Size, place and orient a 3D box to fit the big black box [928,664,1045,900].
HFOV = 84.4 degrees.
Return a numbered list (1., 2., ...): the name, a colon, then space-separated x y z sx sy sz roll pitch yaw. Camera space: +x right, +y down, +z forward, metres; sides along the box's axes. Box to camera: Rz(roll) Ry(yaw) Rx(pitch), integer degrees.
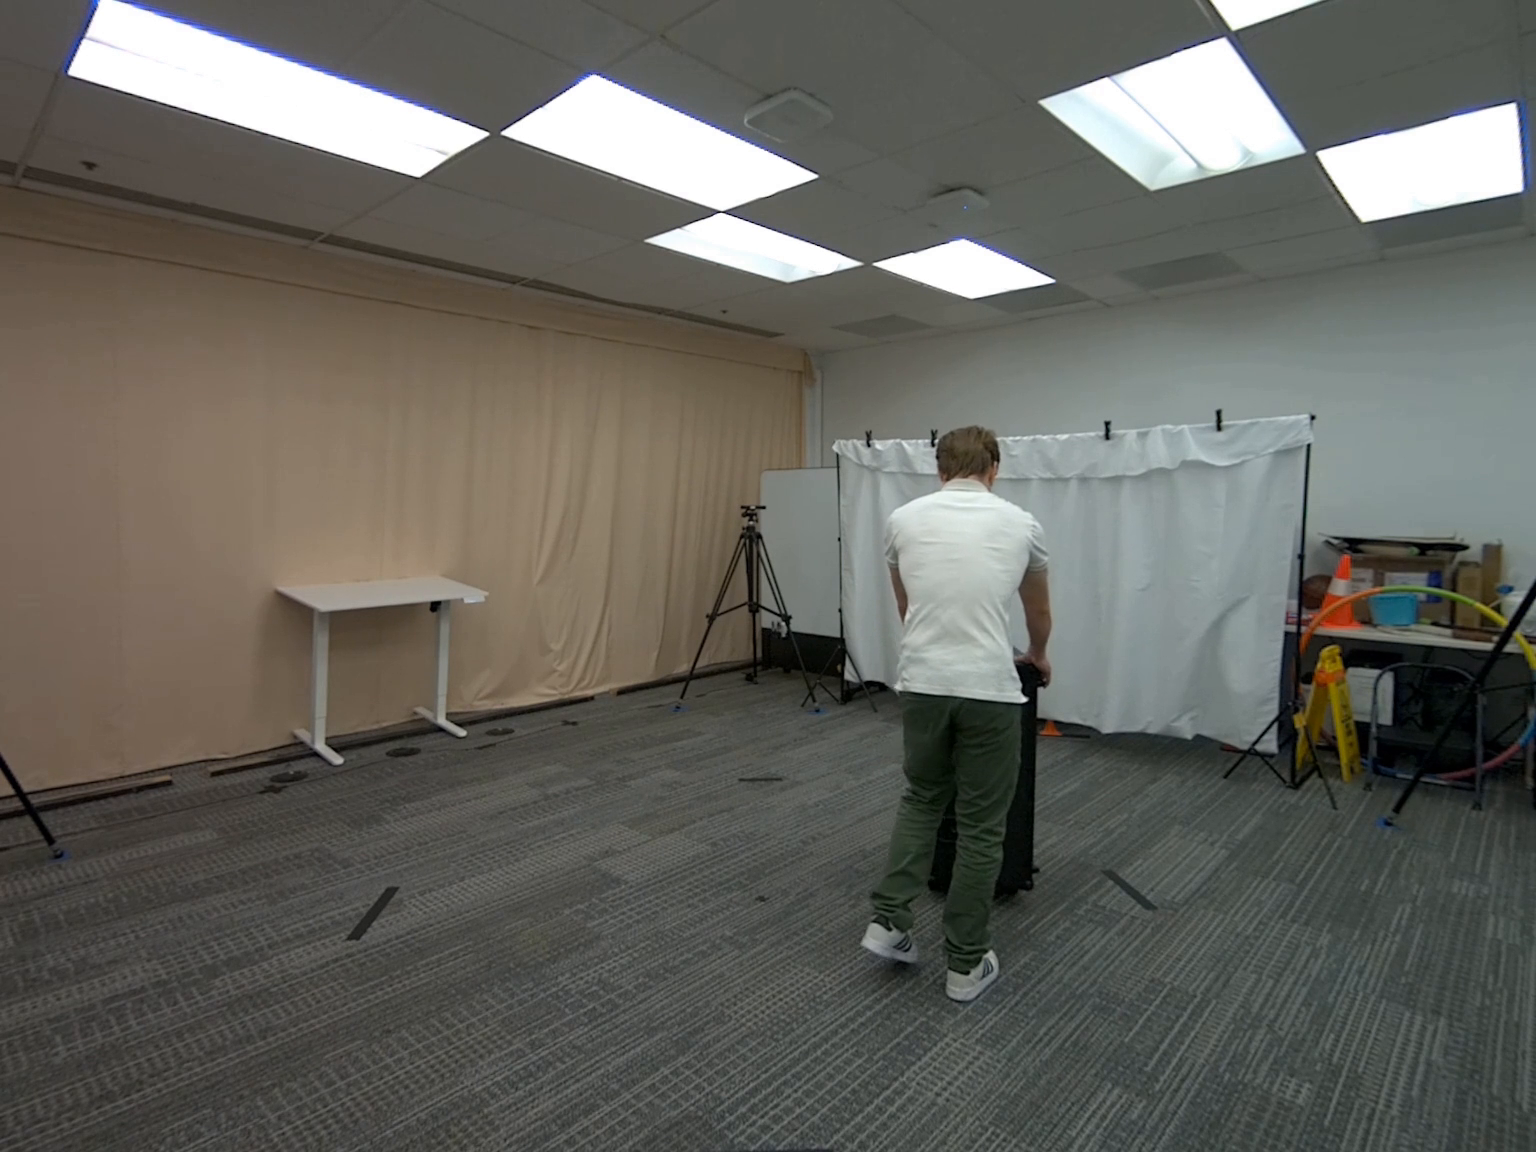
1. big black box: 0.763 0.707 3.131 0.388 0.867 0.520 1 3 6
